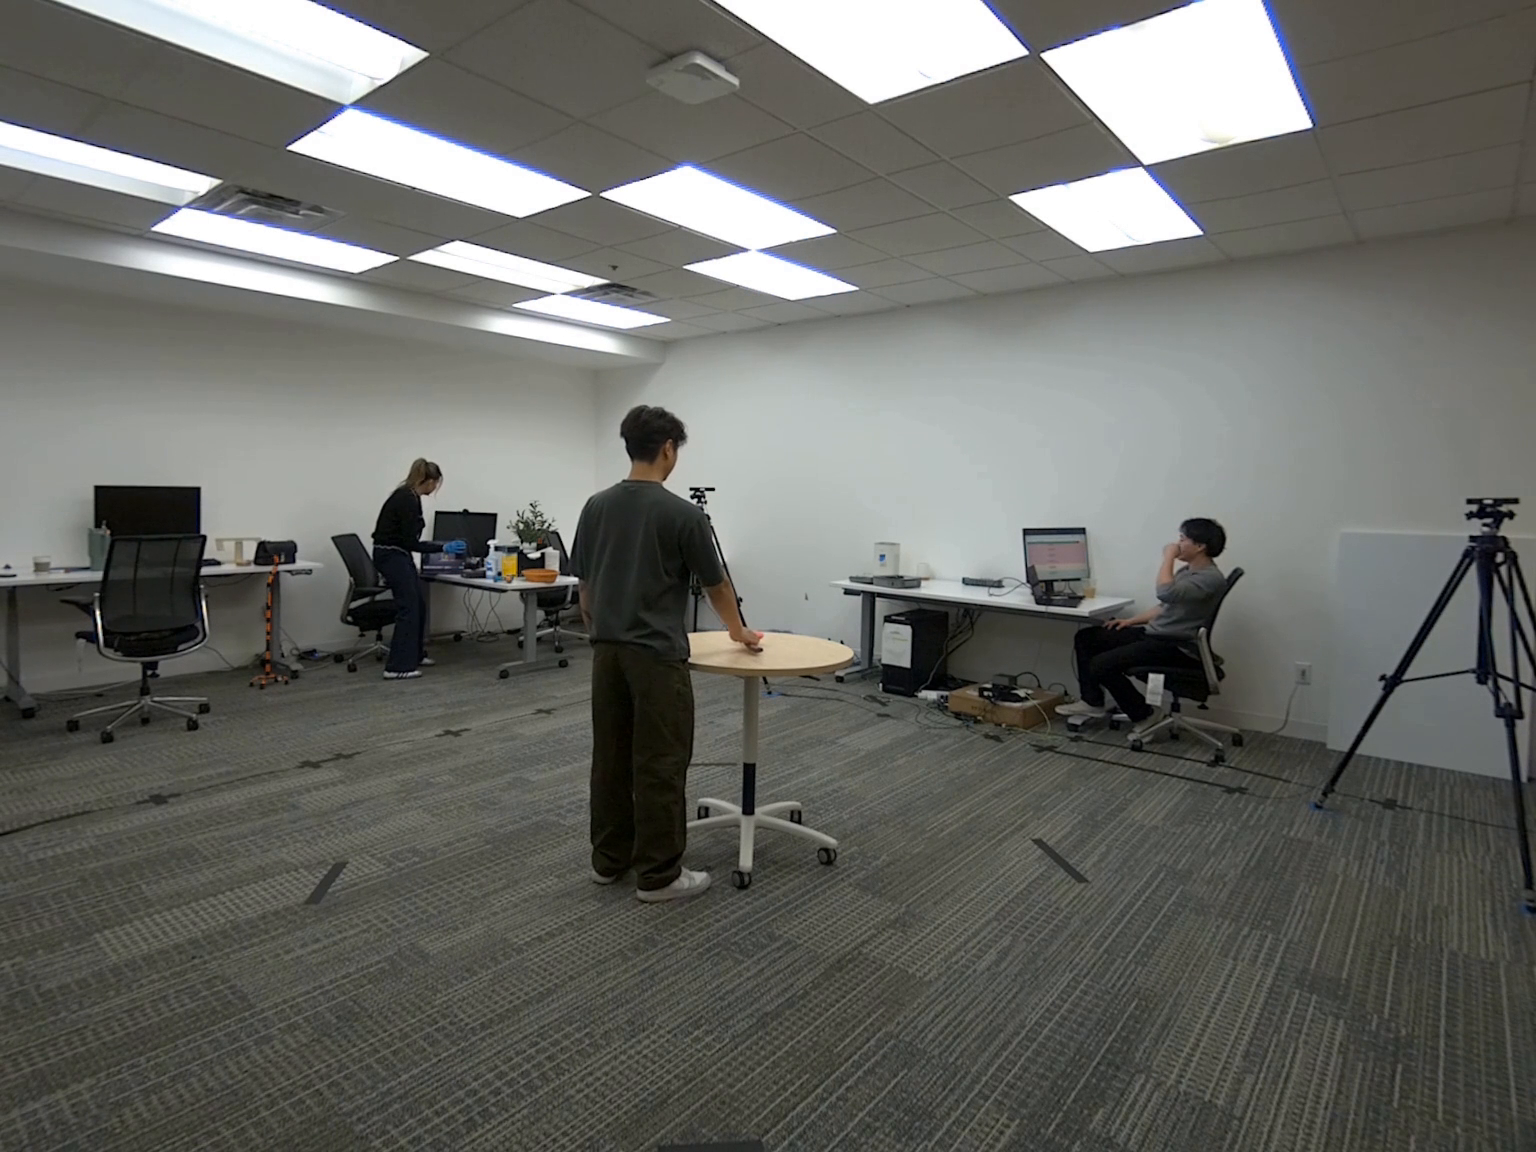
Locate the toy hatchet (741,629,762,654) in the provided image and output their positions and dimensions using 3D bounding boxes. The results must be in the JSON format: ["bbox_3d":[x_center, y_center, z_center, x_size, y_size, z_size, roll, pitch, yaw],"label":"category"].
[{"bbox_3d":[-0.060,0.246,3.229,0.128,0.029,0.277,-2,9,-21],"label":"toy hatchet"}]
